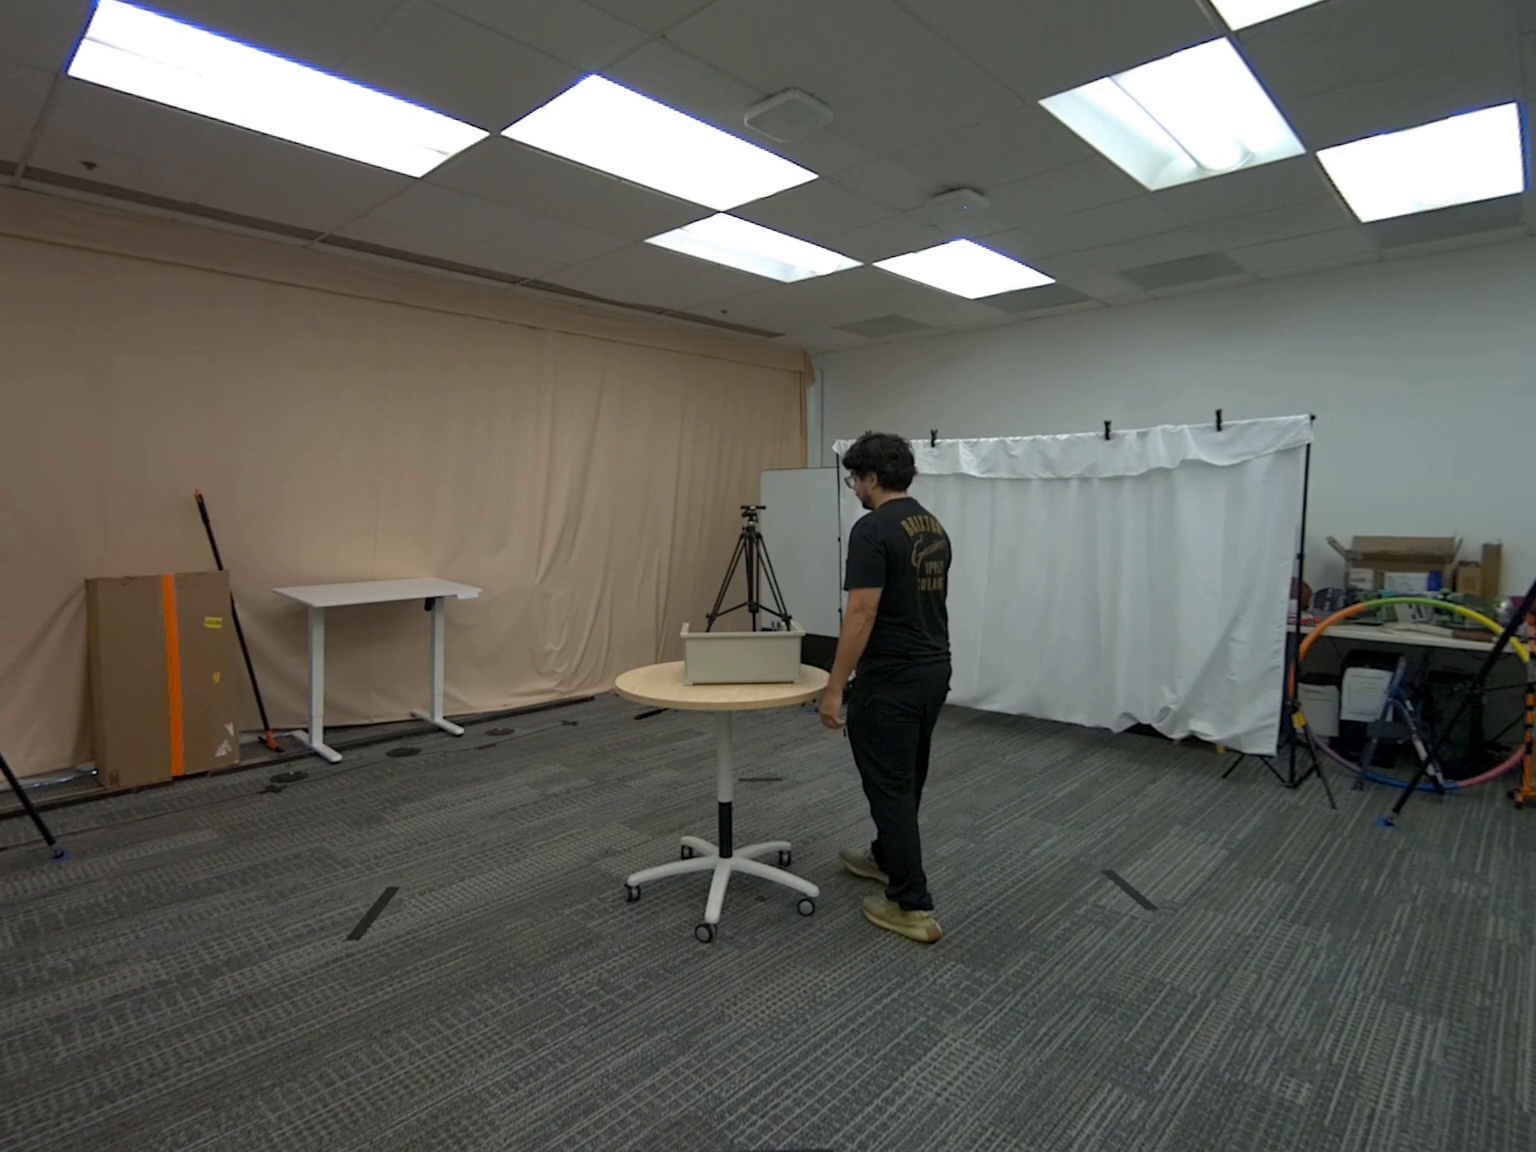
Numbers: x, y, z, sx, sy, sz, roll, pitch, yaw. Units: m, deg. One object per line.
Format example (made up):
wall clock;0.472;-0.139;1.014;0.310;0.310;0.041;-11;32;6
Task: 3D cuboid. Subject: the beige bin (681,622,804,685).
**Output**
beige bin;-0.096;0.270;3.033;0.421;0.188;0.379;-1;5;-3
